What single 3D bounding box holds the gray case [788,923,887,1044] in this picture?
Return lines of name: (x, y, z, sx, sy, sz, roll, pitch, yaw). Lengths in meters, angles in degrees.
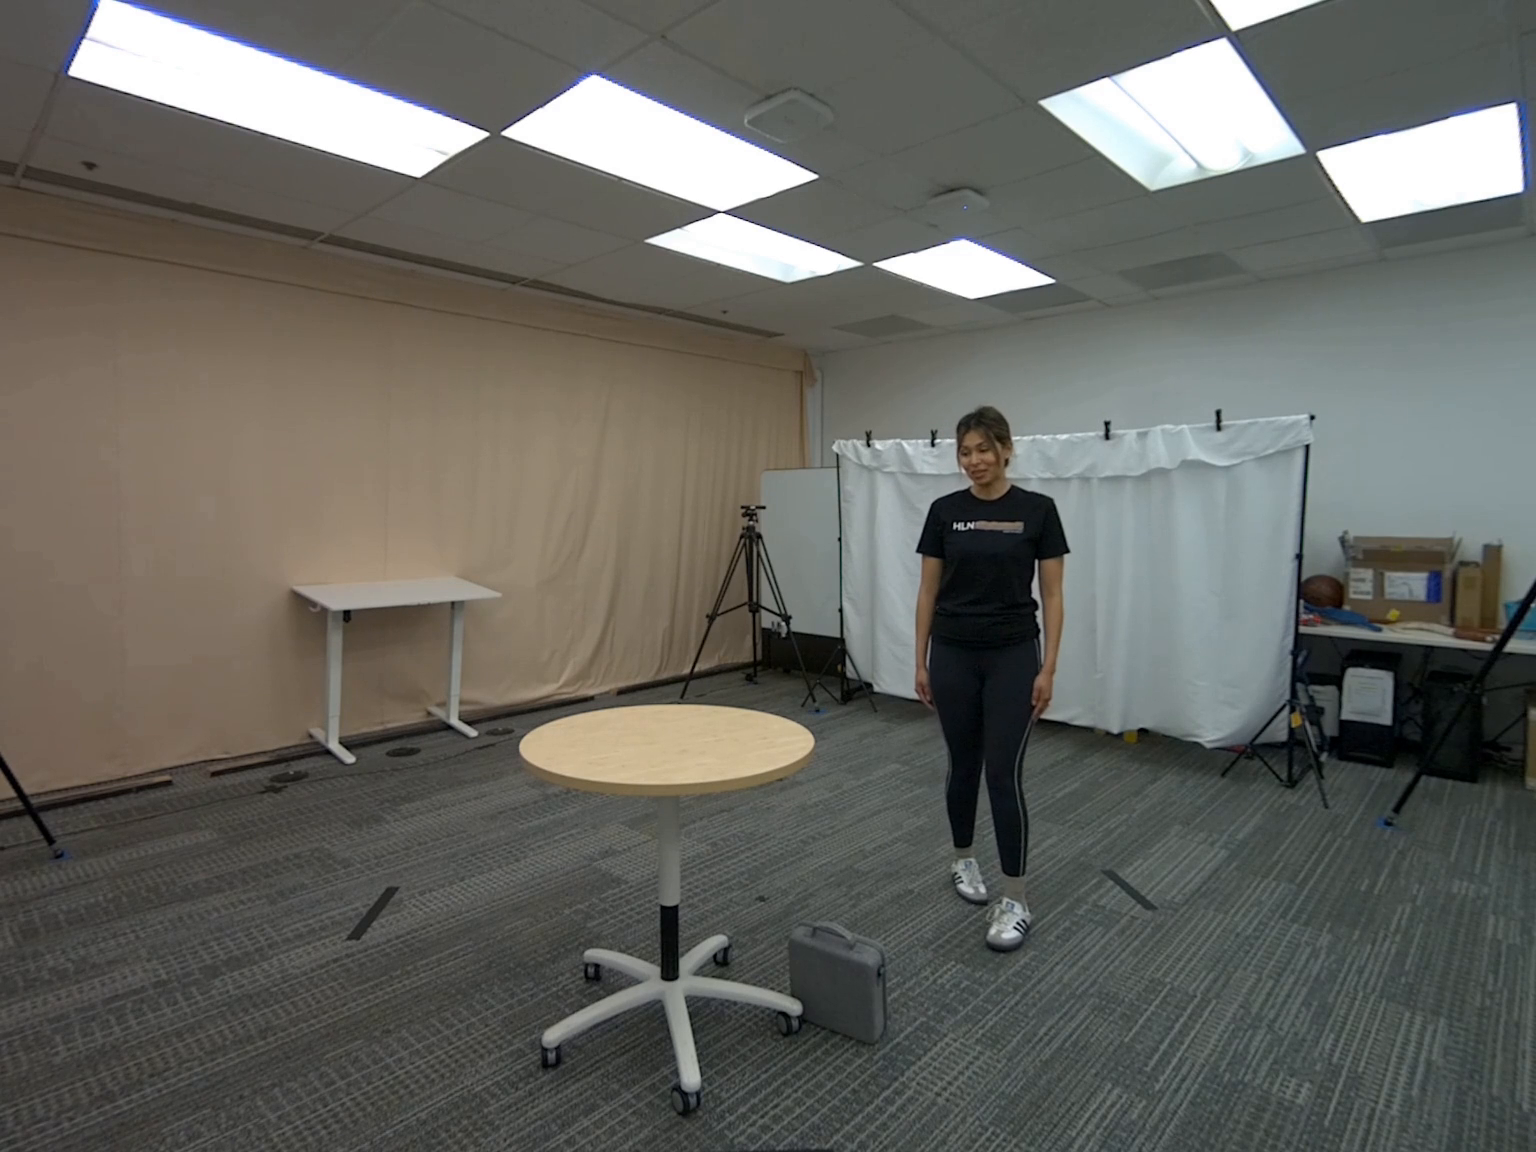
gray case: (0.192, 1.073, 2.238, 0.265, 0.259, 0.102, 2, 10, 32)
